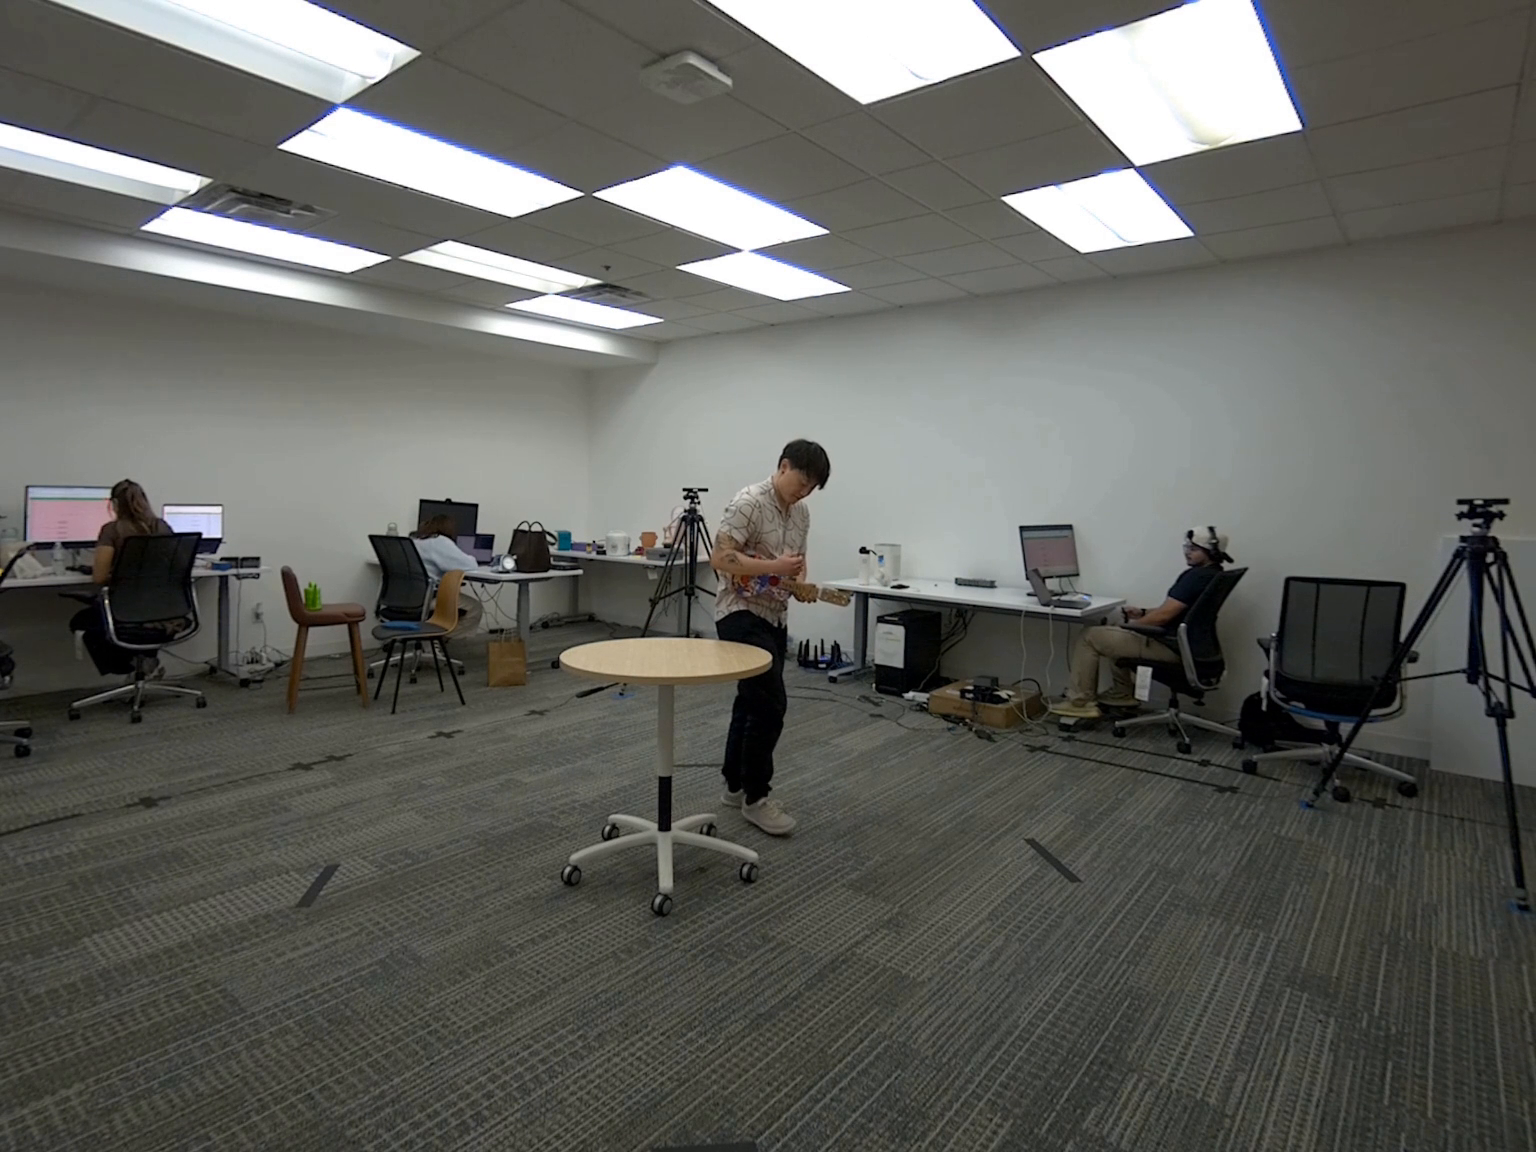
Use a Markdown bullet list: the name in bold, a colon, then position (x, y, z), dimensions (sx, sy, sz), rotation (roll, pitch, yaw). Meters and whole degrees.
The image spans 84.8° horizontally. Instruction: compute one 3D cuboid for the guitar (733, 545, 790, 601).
- **guitar**: position (0.081, 0.067, 3.519), dimensions (0.499, 0.194, 0.070), rotation (23, -13, 1)
